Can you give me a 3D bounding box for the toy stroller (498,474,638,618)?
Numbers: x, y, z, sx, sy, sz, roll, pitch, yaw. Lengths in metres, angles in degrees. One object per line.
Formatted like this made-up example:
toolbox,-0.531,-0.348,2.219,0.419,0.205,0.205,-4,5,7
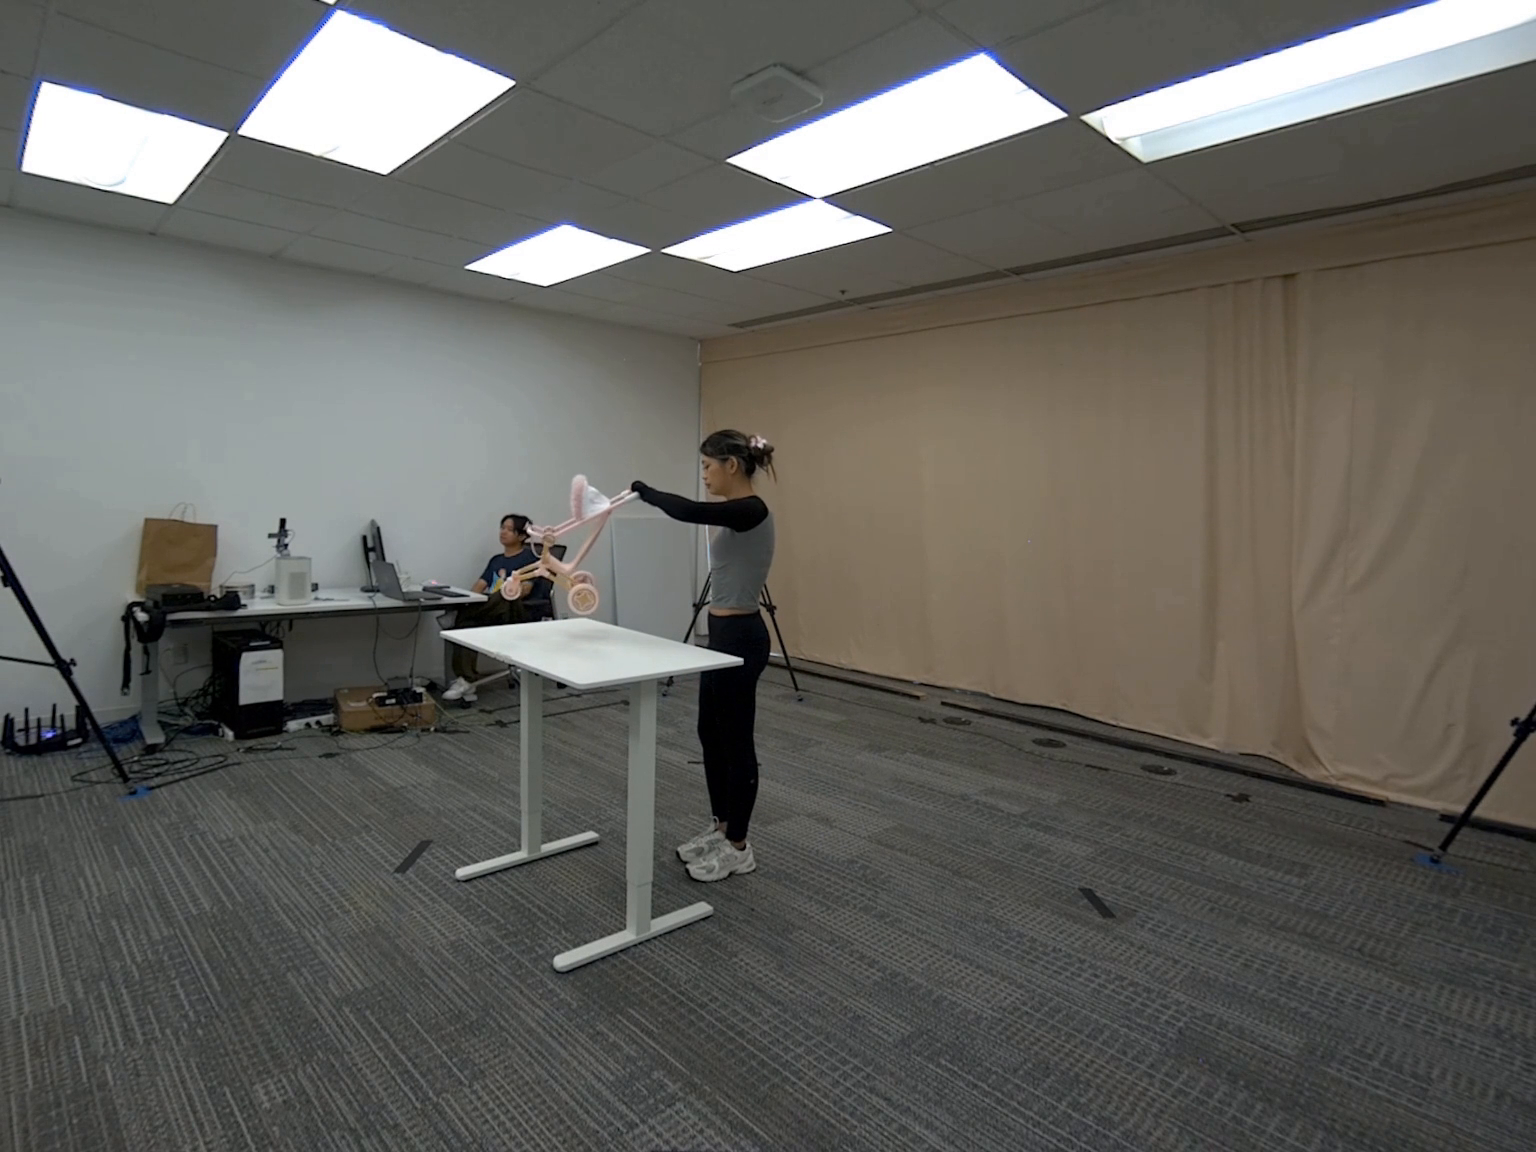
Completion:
toy stroller,-0.714,-0.117,3.005,0.338,0.534,0.285,21,4,-10
